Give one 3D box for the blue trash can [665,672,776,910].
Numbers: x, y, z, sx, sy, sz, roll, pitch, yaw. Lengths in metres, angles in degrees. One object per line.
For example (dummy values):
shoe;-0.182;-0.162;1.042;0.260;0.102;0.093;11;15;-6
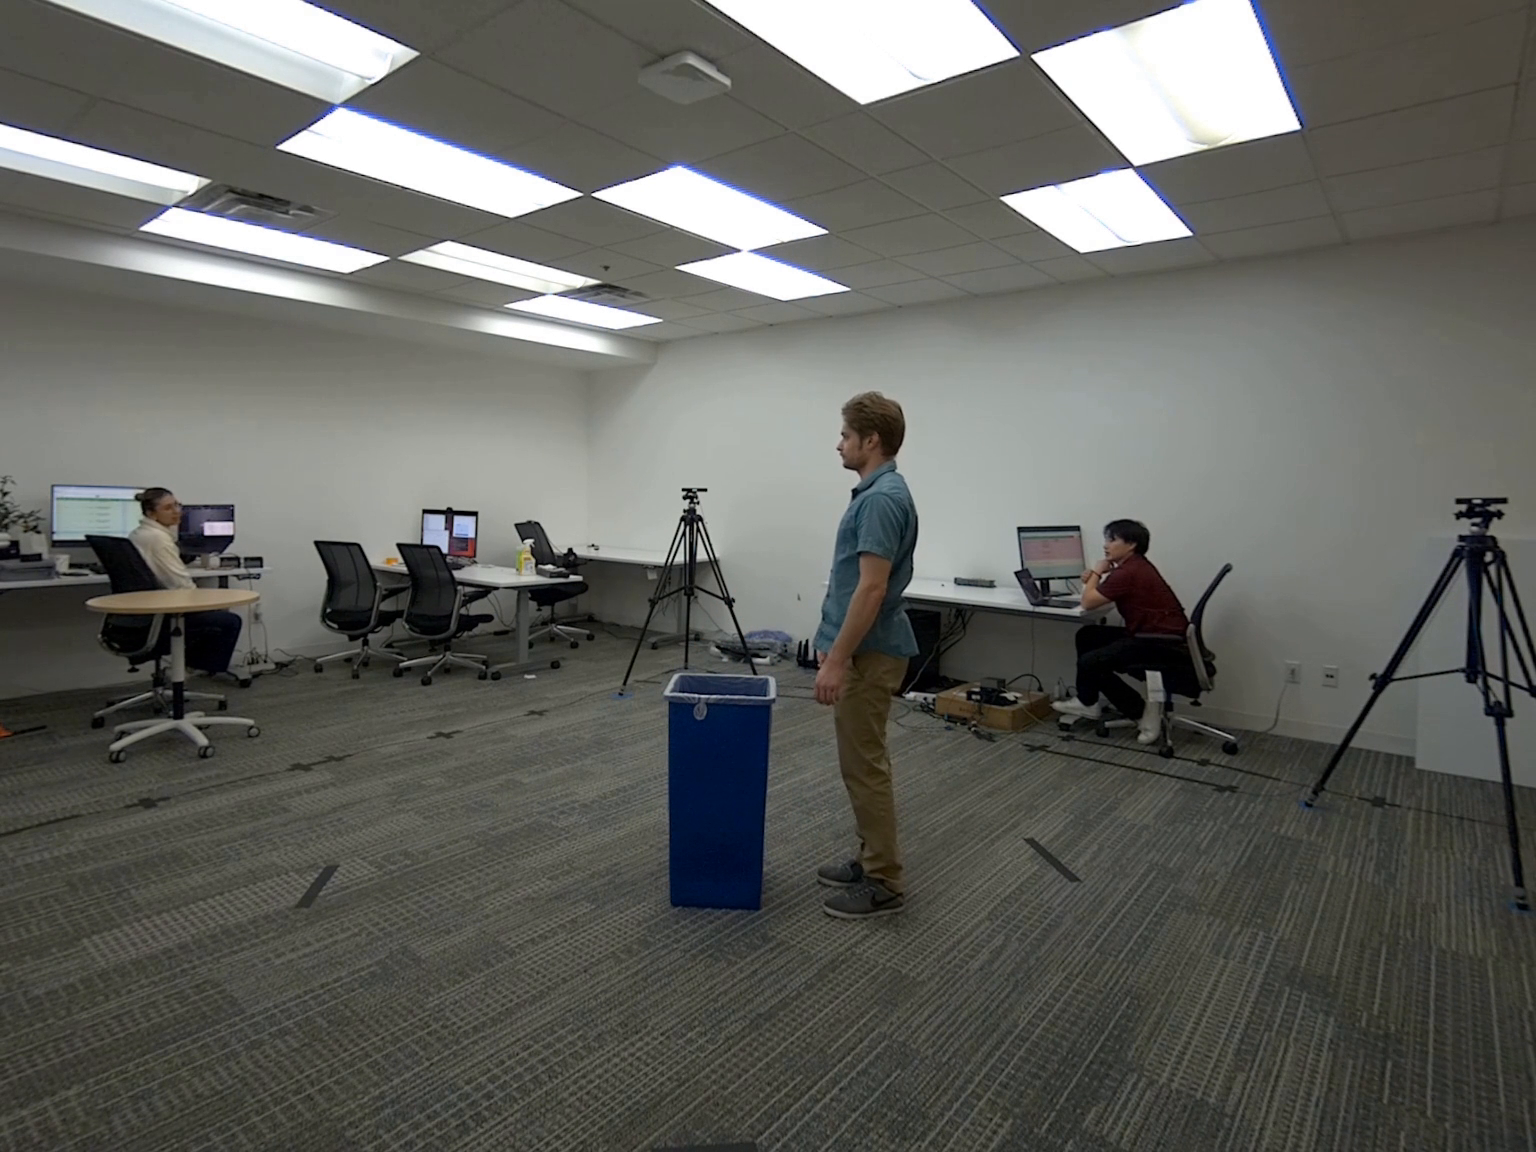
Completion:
blue trash can;-0.169;0.727;2.961;0.375;0.712;0.378;0;2;1
